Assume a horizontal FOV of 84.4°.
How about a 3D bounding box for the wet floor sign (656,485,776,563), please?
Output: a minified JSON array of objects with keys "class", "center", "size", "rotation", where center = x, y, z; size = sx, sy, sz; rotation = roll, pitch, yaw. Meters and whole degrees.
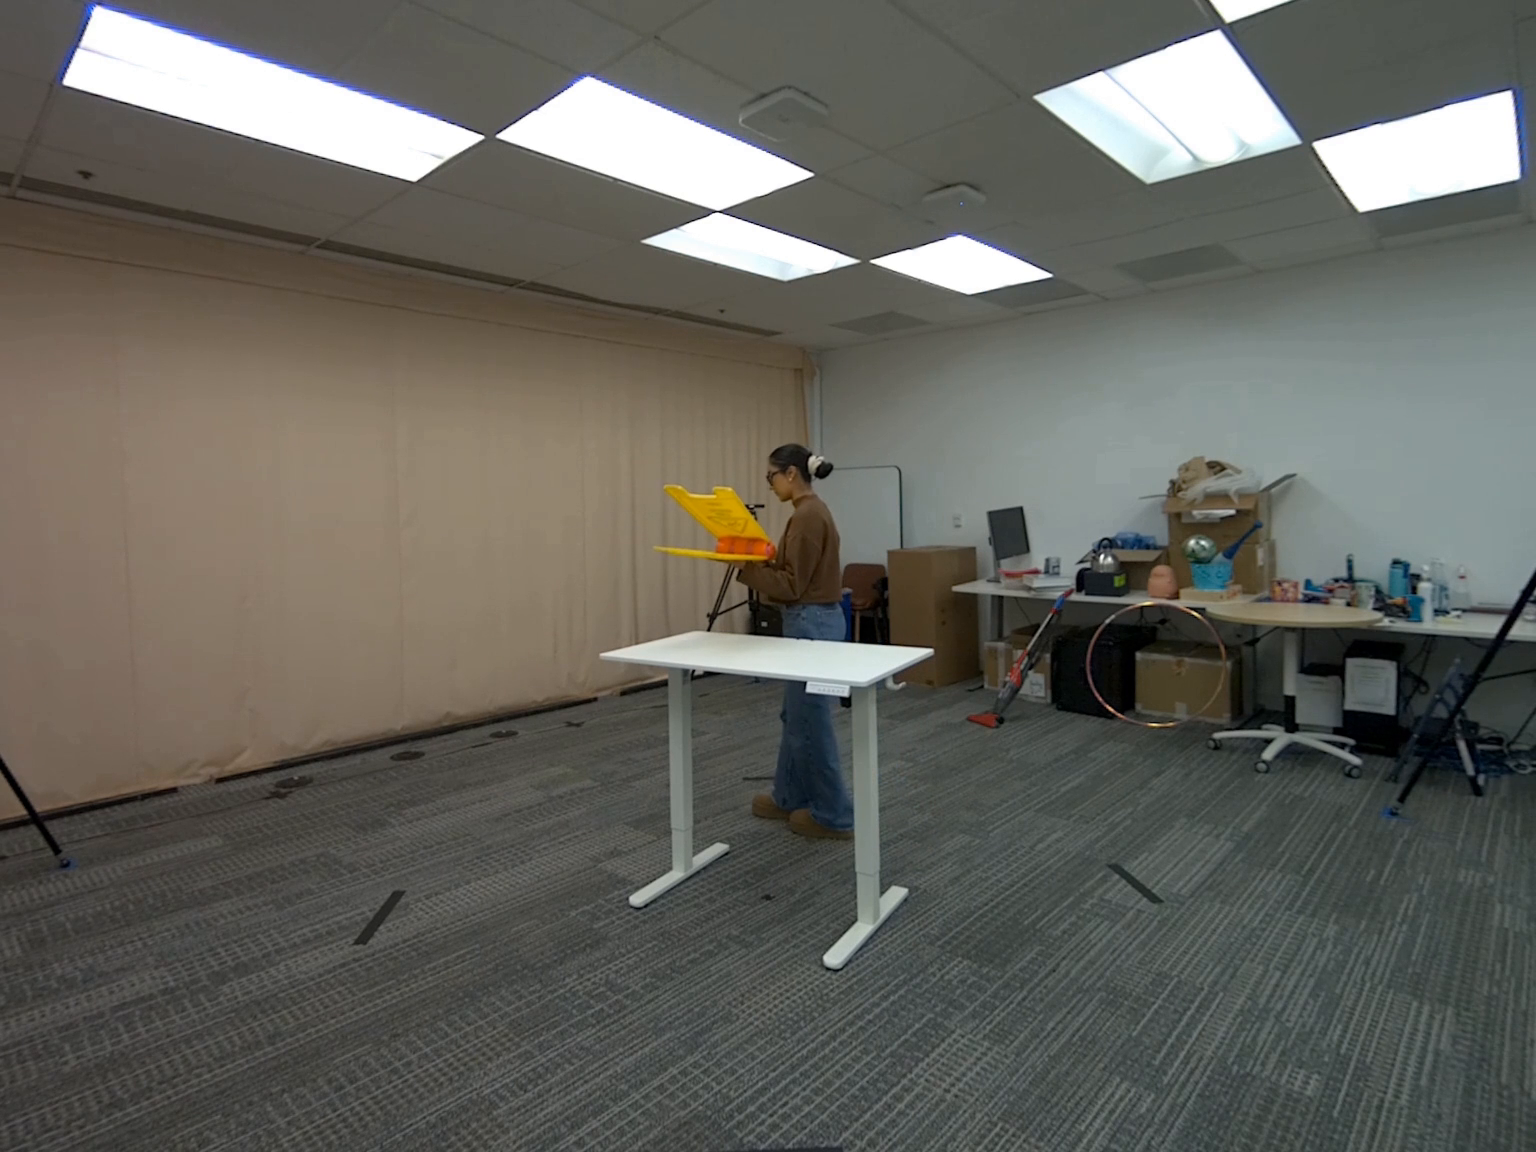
[{"class":"wet floor sign","center":[-0.171,-0.140,3.323],"size":[0.289,0.291,0.628],"rotation":[6,-7,22]}]
